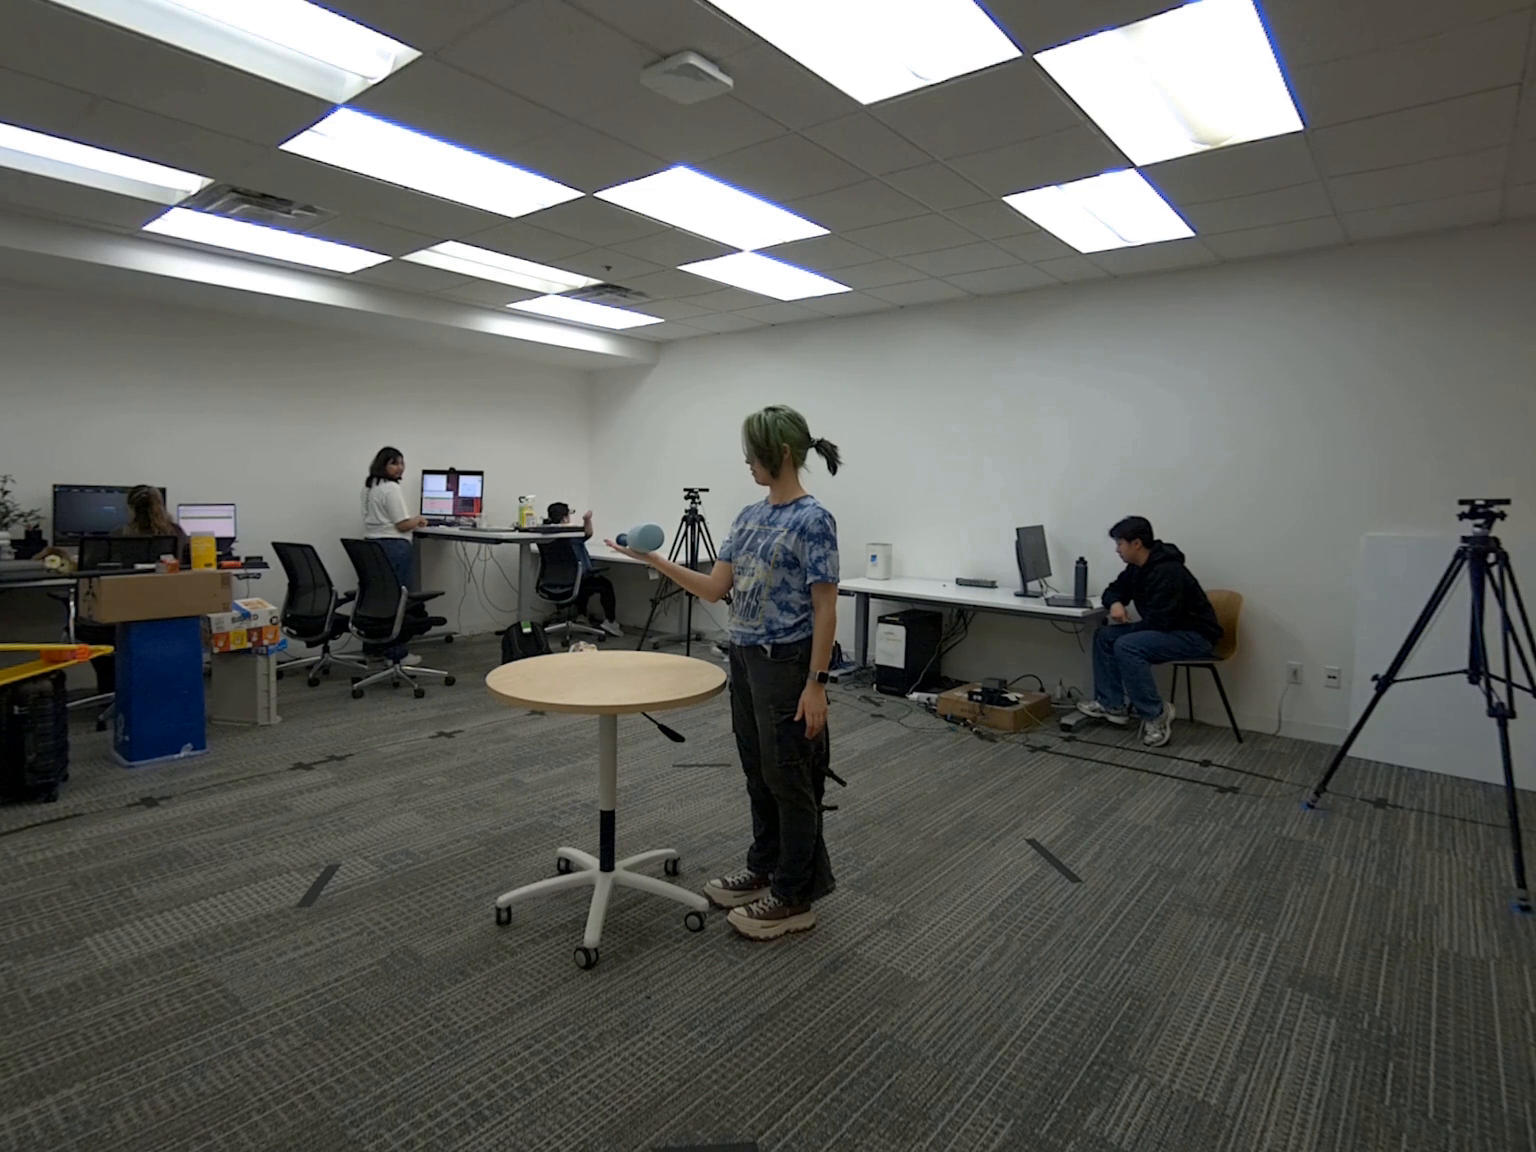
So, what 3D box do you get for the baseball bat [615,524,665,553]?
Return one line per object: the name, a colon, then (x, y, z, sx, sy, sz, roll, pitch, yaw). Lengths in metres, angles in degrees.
baseball bat: (-0.459, -0.118, 2.774, 0.087, 0.089, 0.553, 0, 0, -20)
